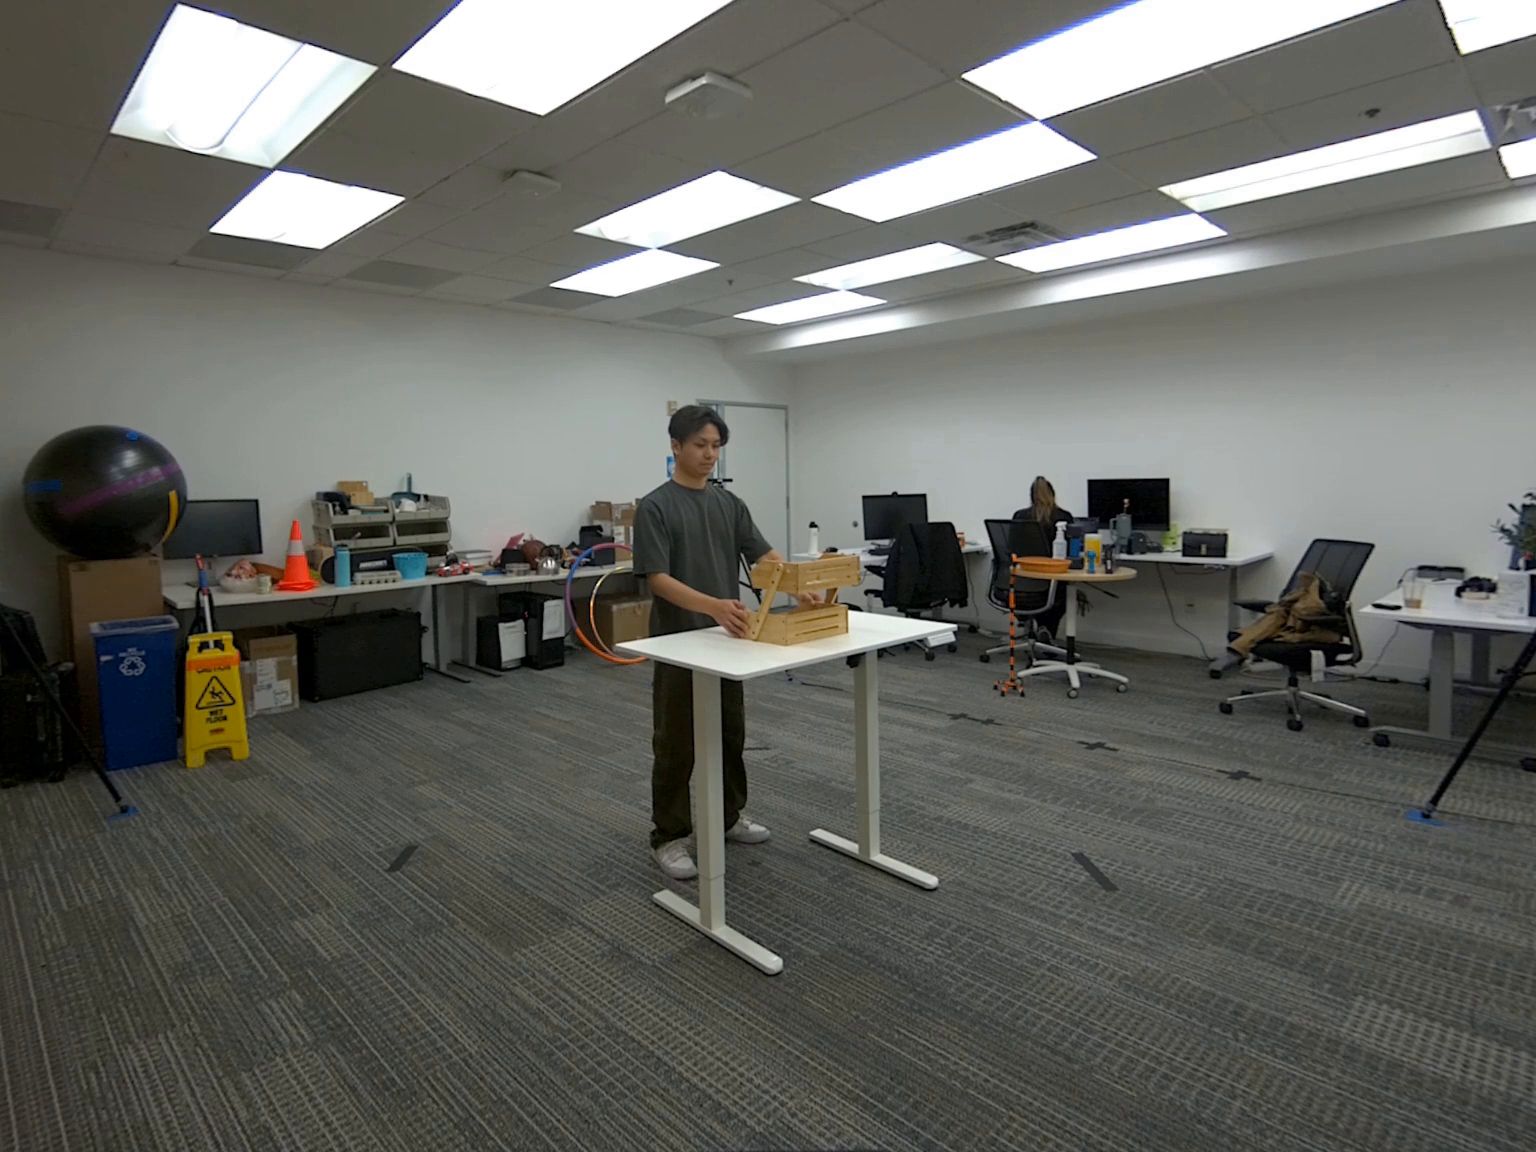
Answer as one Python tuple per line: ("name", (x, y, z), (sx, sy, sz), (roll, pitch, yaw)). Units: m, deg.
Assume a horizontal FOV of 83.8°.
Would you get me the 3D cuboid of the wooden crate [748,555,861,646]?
("wooden crate", (0.091, 0.061, 2.790), (0.316, 0.272, 0.311), (-7, 8, -43))
